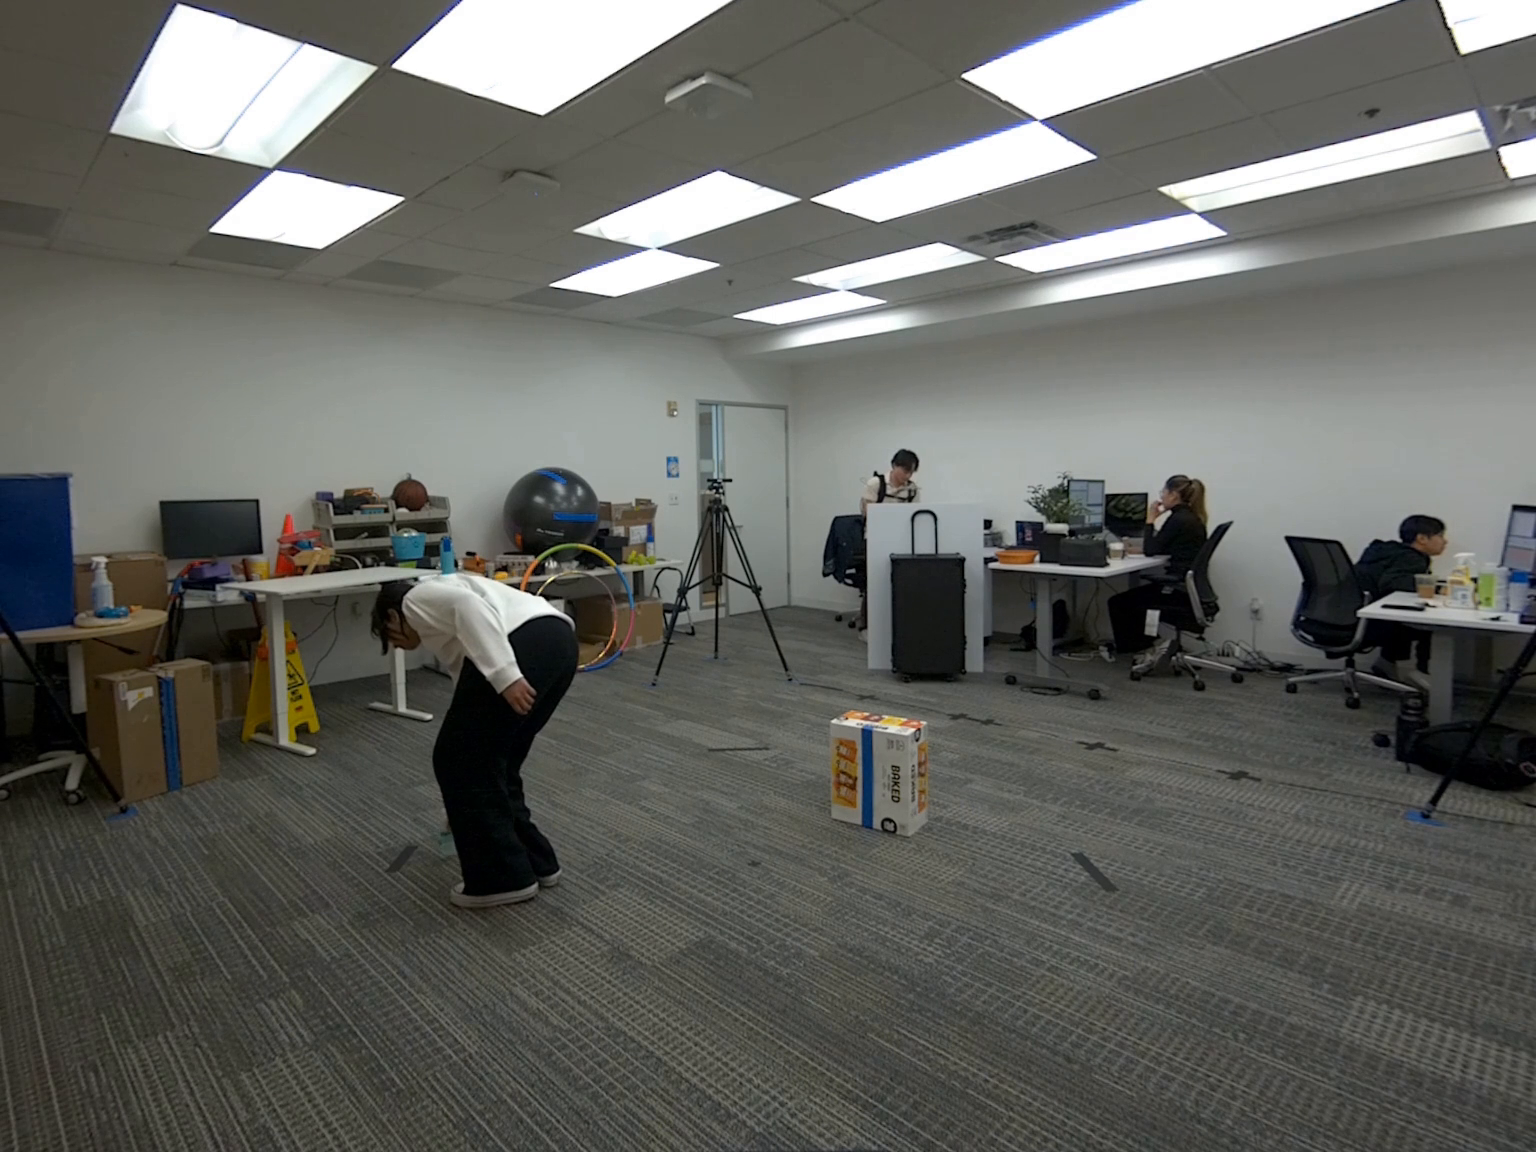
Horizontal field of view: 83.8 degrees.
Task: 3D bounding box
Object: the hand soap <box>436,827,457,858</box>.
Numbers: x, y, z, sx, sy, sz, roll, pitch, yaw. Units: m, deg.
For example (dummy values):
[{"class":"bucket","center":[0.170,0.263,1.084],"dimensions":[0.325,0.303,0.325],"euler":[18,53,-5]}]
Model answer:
[{"class":"hand soap","center":[-1.194,0.962,3.207],"dimensions":[0.085,0.167,0.043],"euler":[-10,4,2]}]
